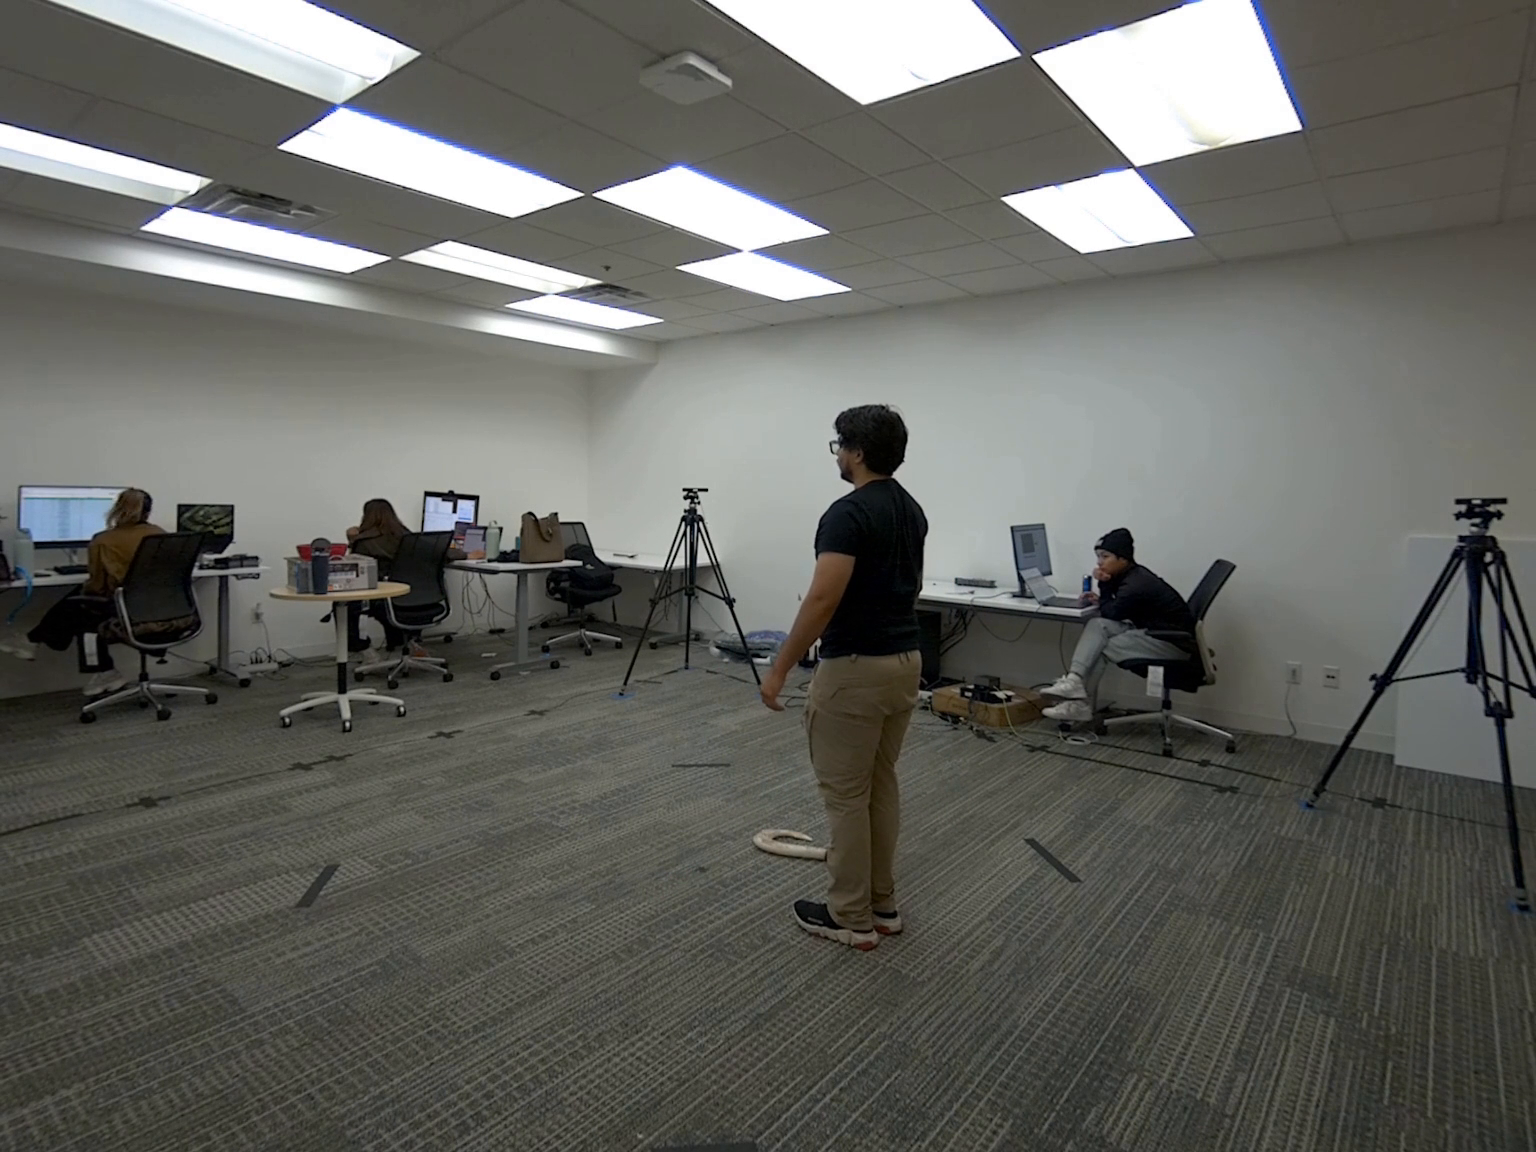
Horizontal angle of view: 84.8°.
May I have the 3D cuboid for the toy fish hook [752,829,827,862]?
[{"bbox_3d":[0.183,1.041,3.272,0.521,0.048,0.219,4,7,27],"label":"toy fish hook"}]
